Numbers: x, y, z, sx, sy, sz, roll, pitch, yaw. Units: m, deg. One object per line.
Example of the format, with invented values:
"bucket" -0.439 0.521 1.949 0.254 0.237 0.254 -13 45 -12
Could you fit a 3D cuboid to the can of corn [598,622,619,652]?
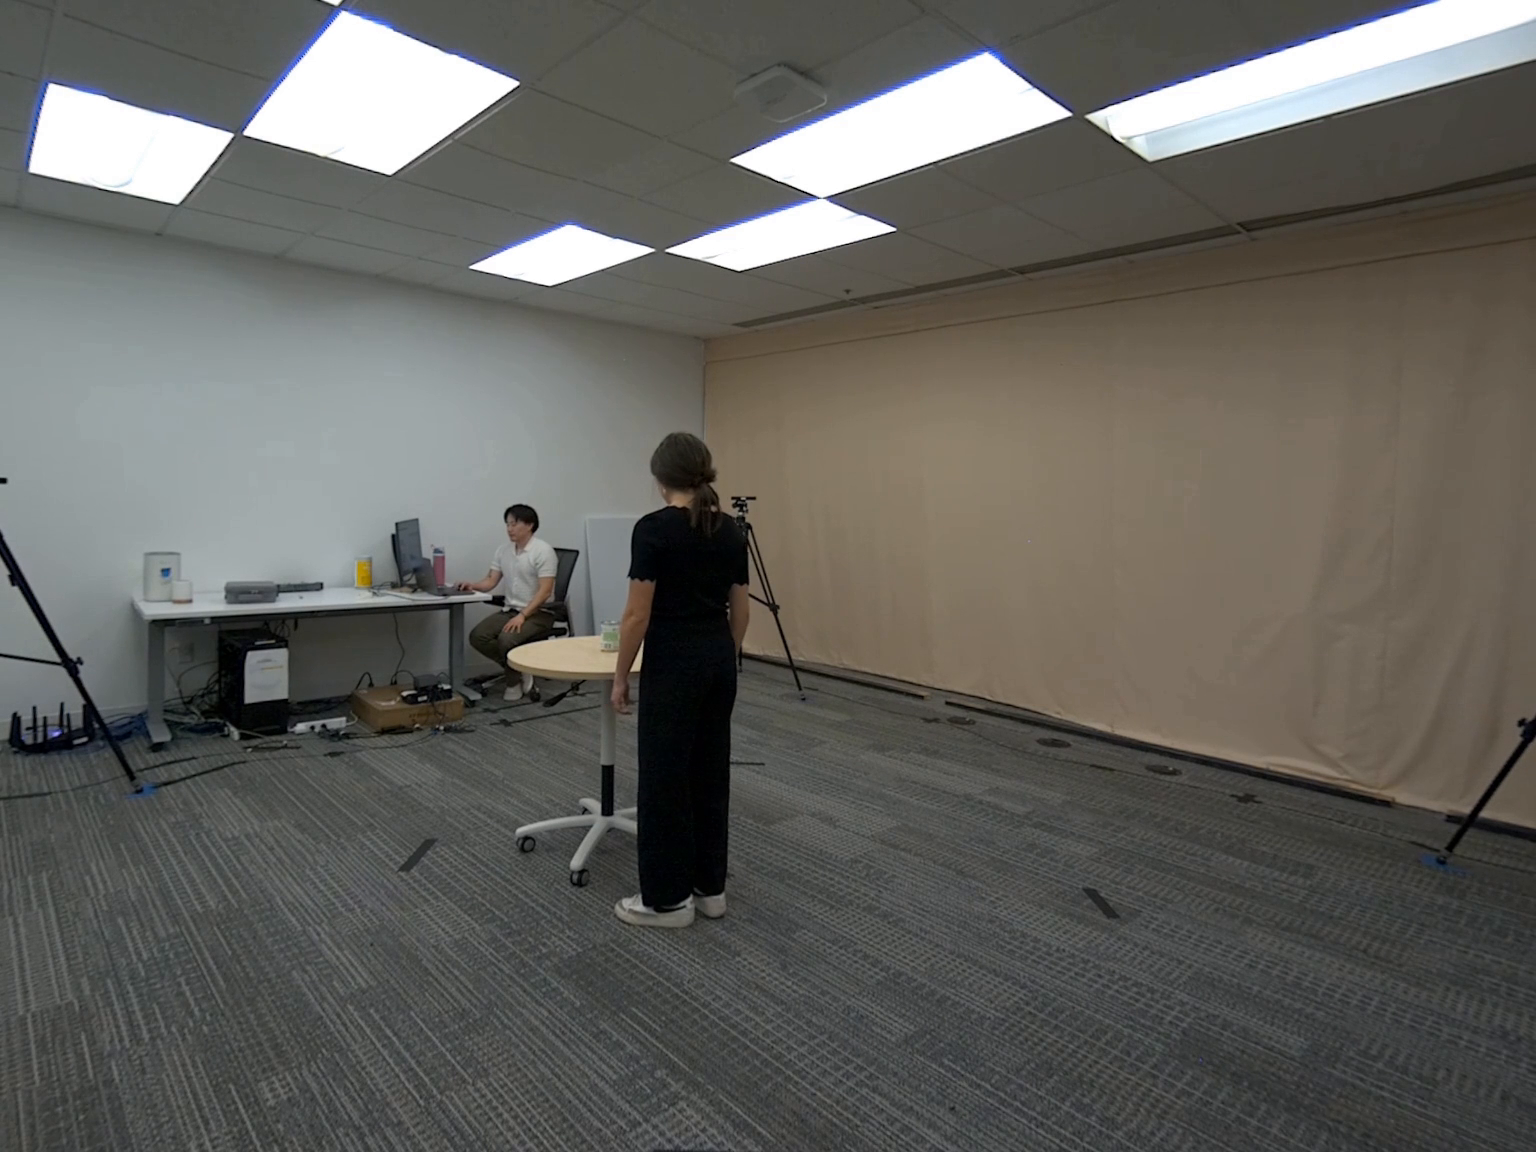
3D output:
"can of corn" -0.629 0.238 3.290 0.074 0.111 0.074 1 3 -1
